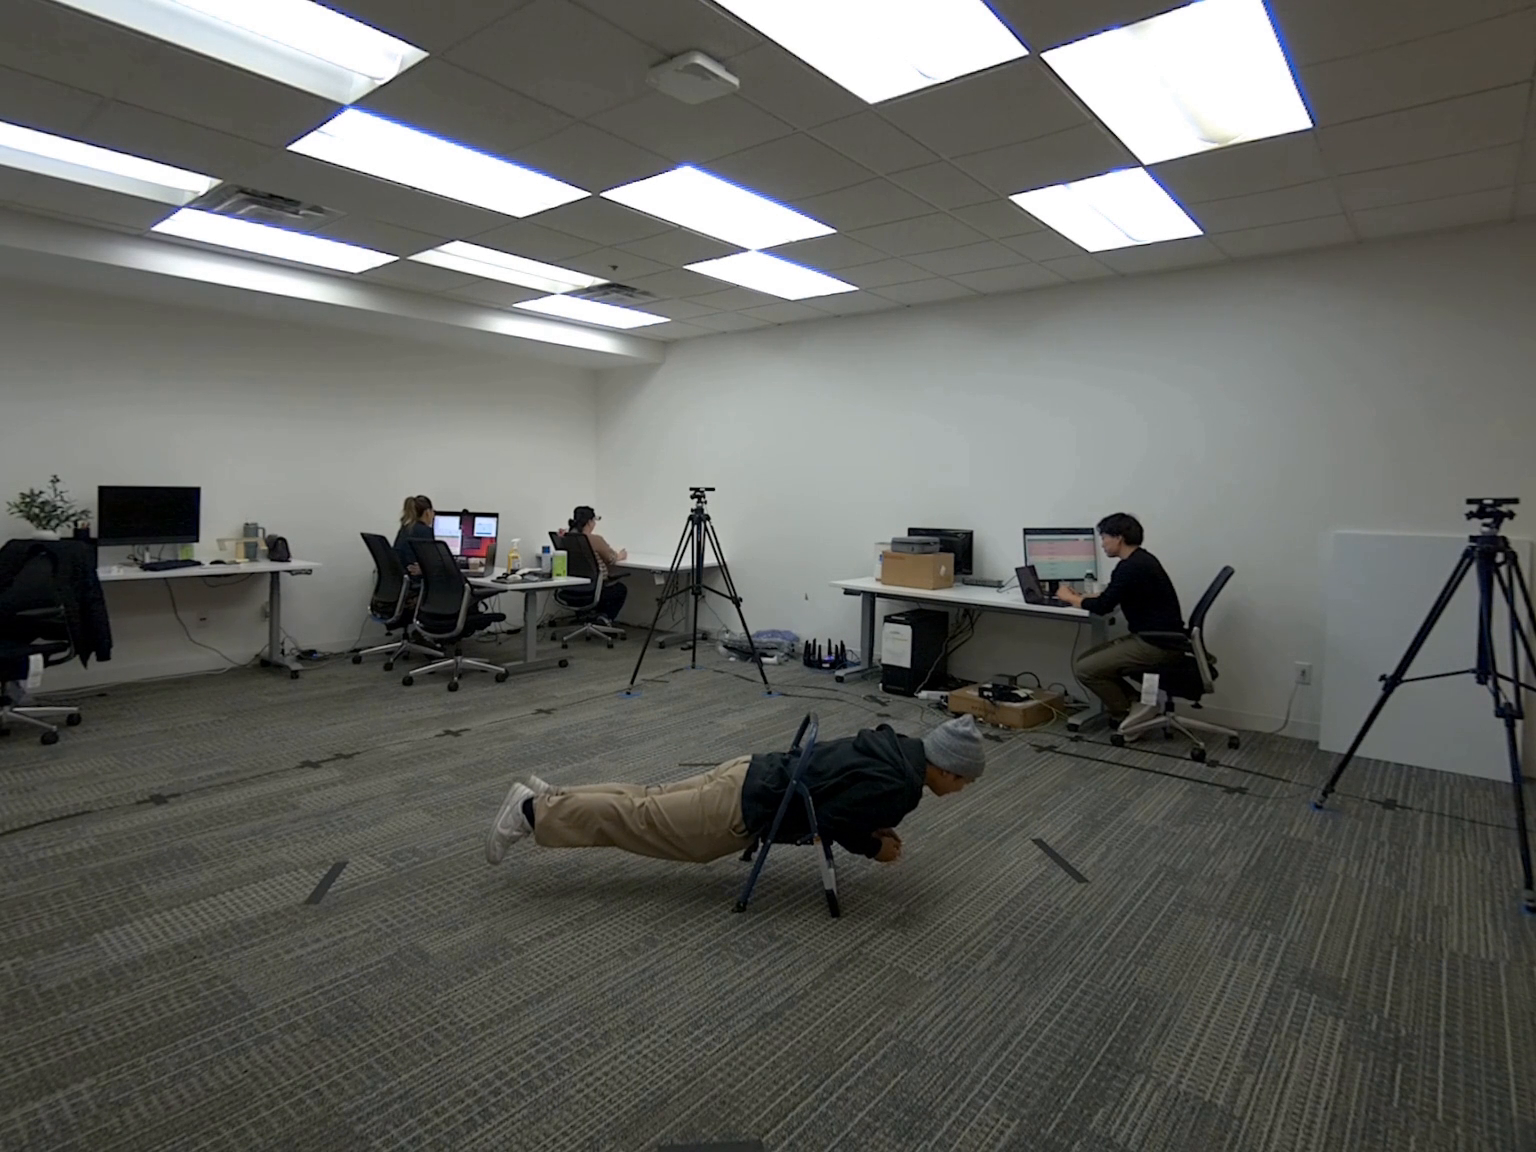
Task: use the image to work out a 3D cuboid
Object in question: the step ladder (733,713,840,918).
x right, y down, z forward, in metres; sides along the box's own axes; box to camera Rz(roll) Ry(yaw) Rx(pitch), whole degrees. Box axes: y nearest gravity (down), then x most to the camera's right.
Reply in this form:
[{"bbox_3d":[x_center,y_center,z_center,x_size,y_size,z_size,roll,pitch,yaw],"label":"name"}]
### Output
[{"bbox_3d":[0.069,0.788,2.970,0.350,0.604,0.431,3,4,1],"label":"step ladder"}]
